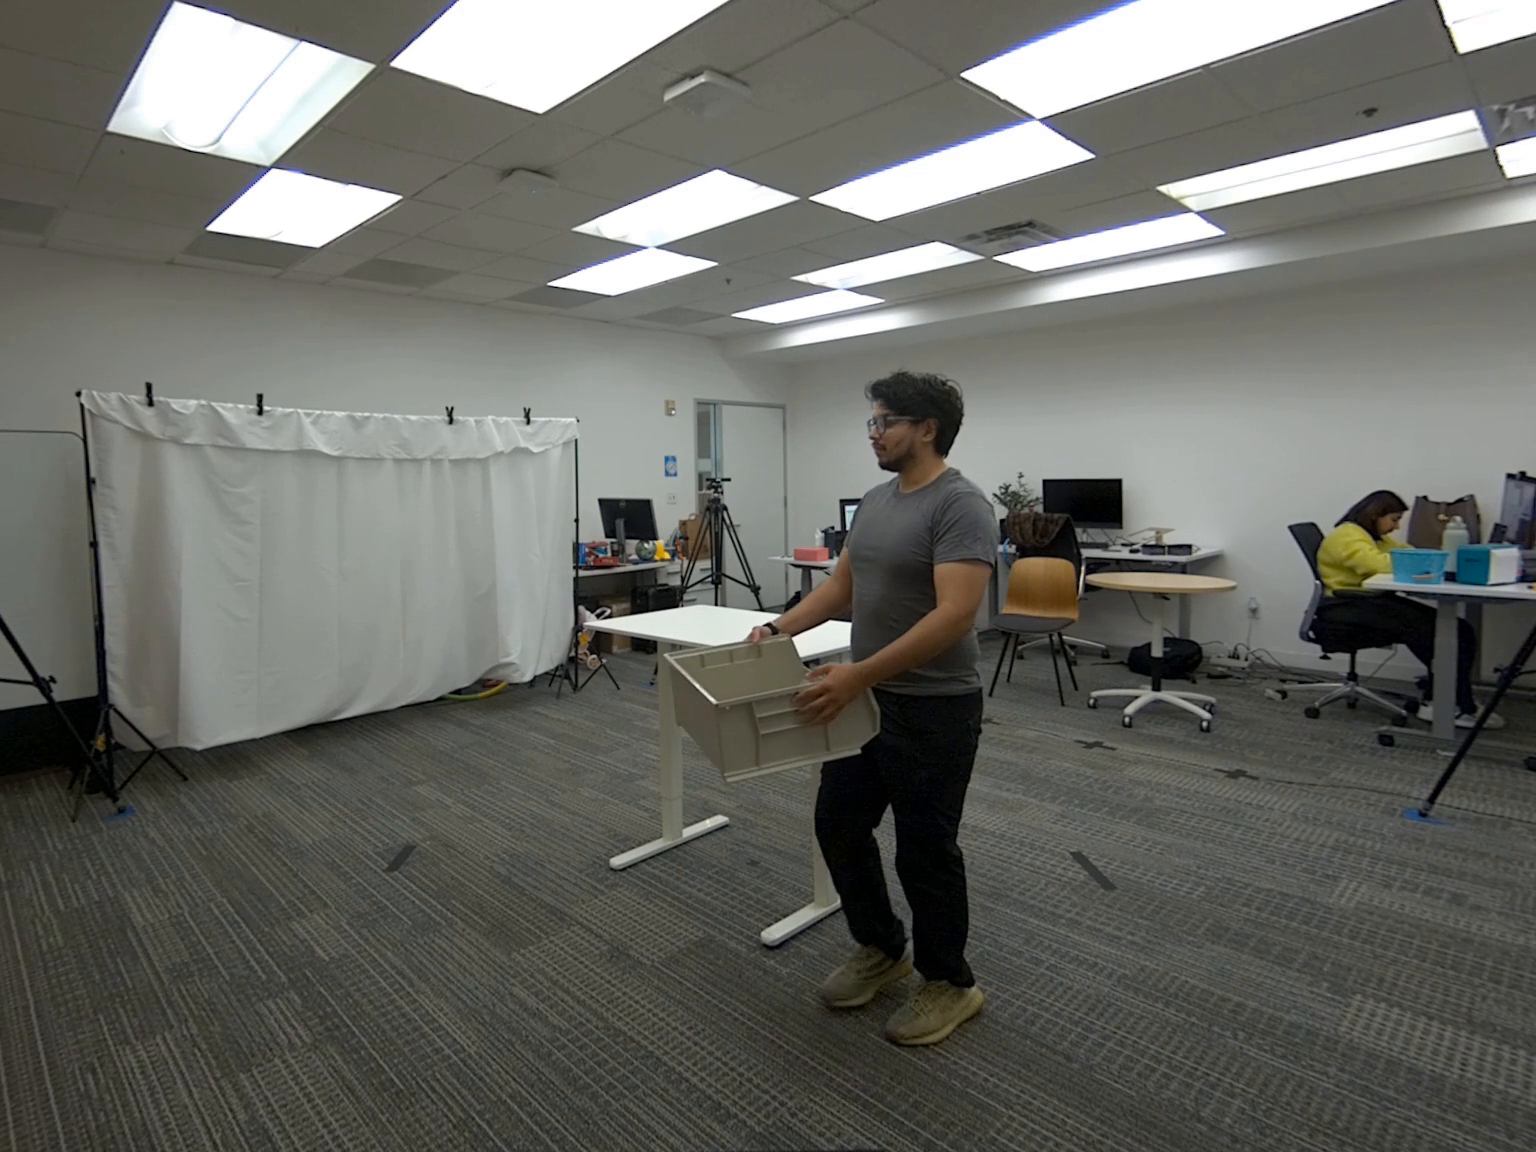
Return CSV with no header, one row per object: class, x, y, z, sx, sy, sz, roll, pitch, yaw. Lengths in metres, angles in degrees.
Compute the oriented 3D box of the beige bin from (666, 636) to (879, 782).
beige bin,-0.002,0.284,2.006,0.371,0.187,0.434,-12,14,-22
